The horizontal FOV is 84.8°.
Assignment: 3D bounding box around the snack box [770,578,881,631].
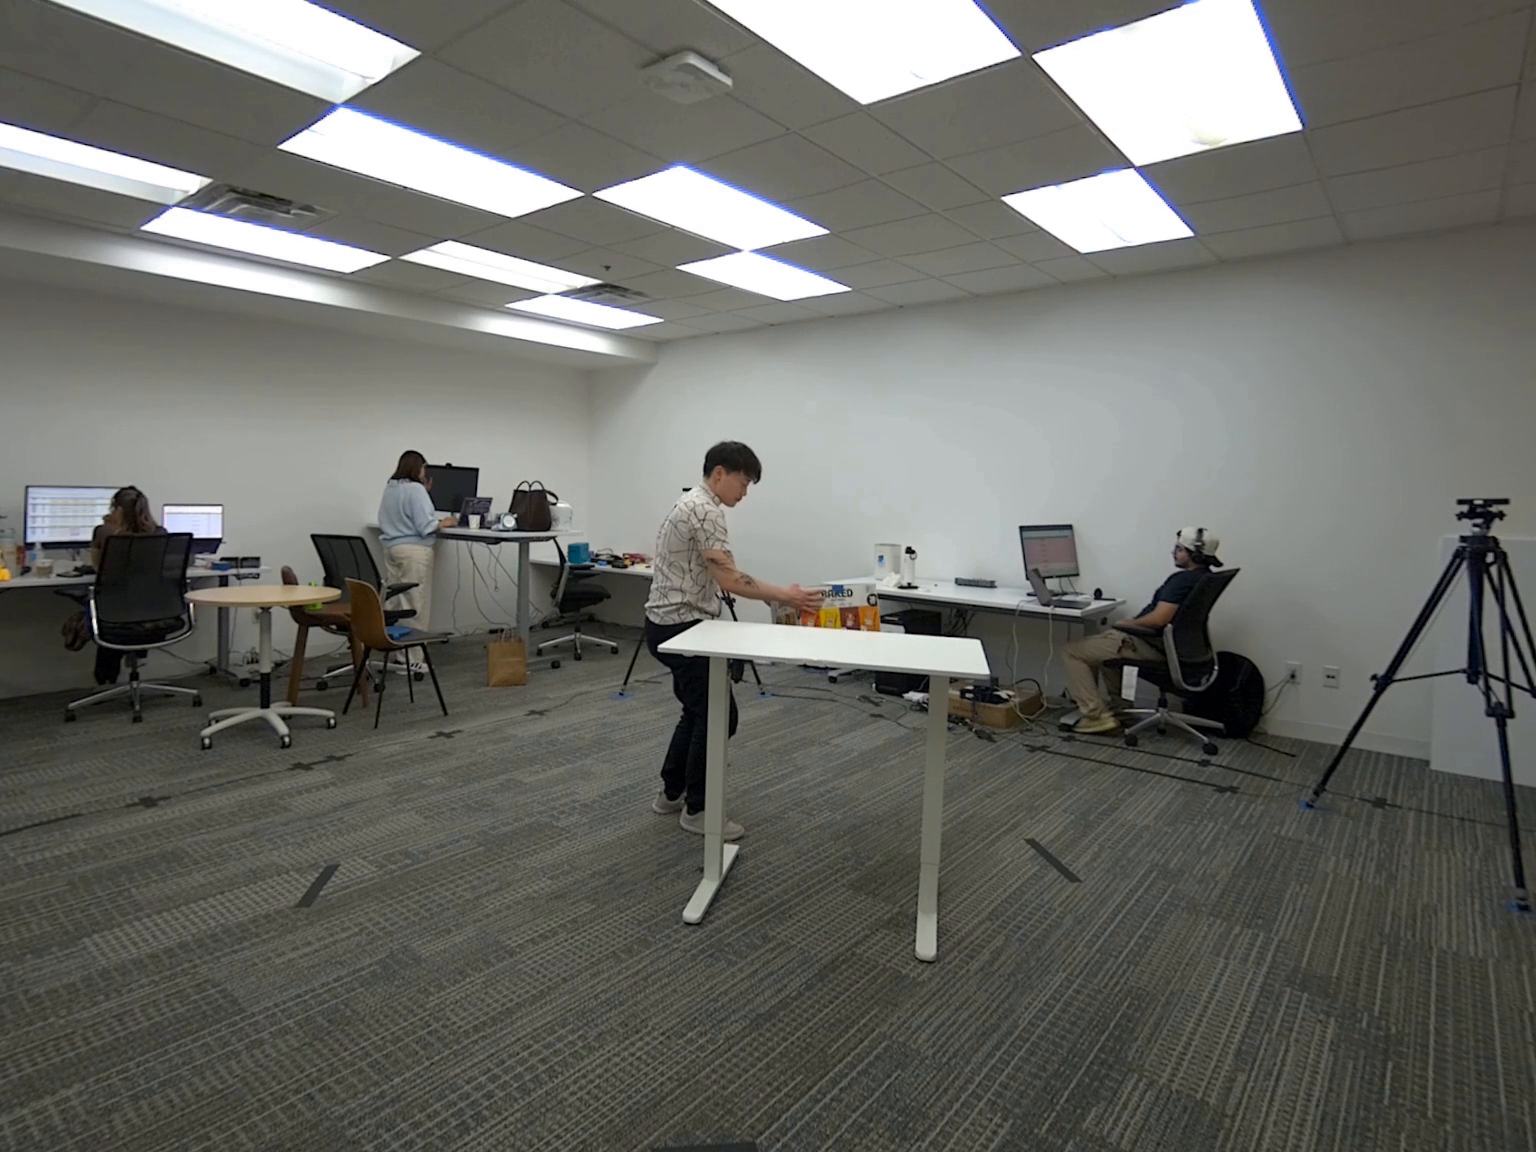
[{"bbox_3d":[0.226,0.162,3.616,0.336,0.207,0.408,-2,-6,-14],"label":"snack box"}]
